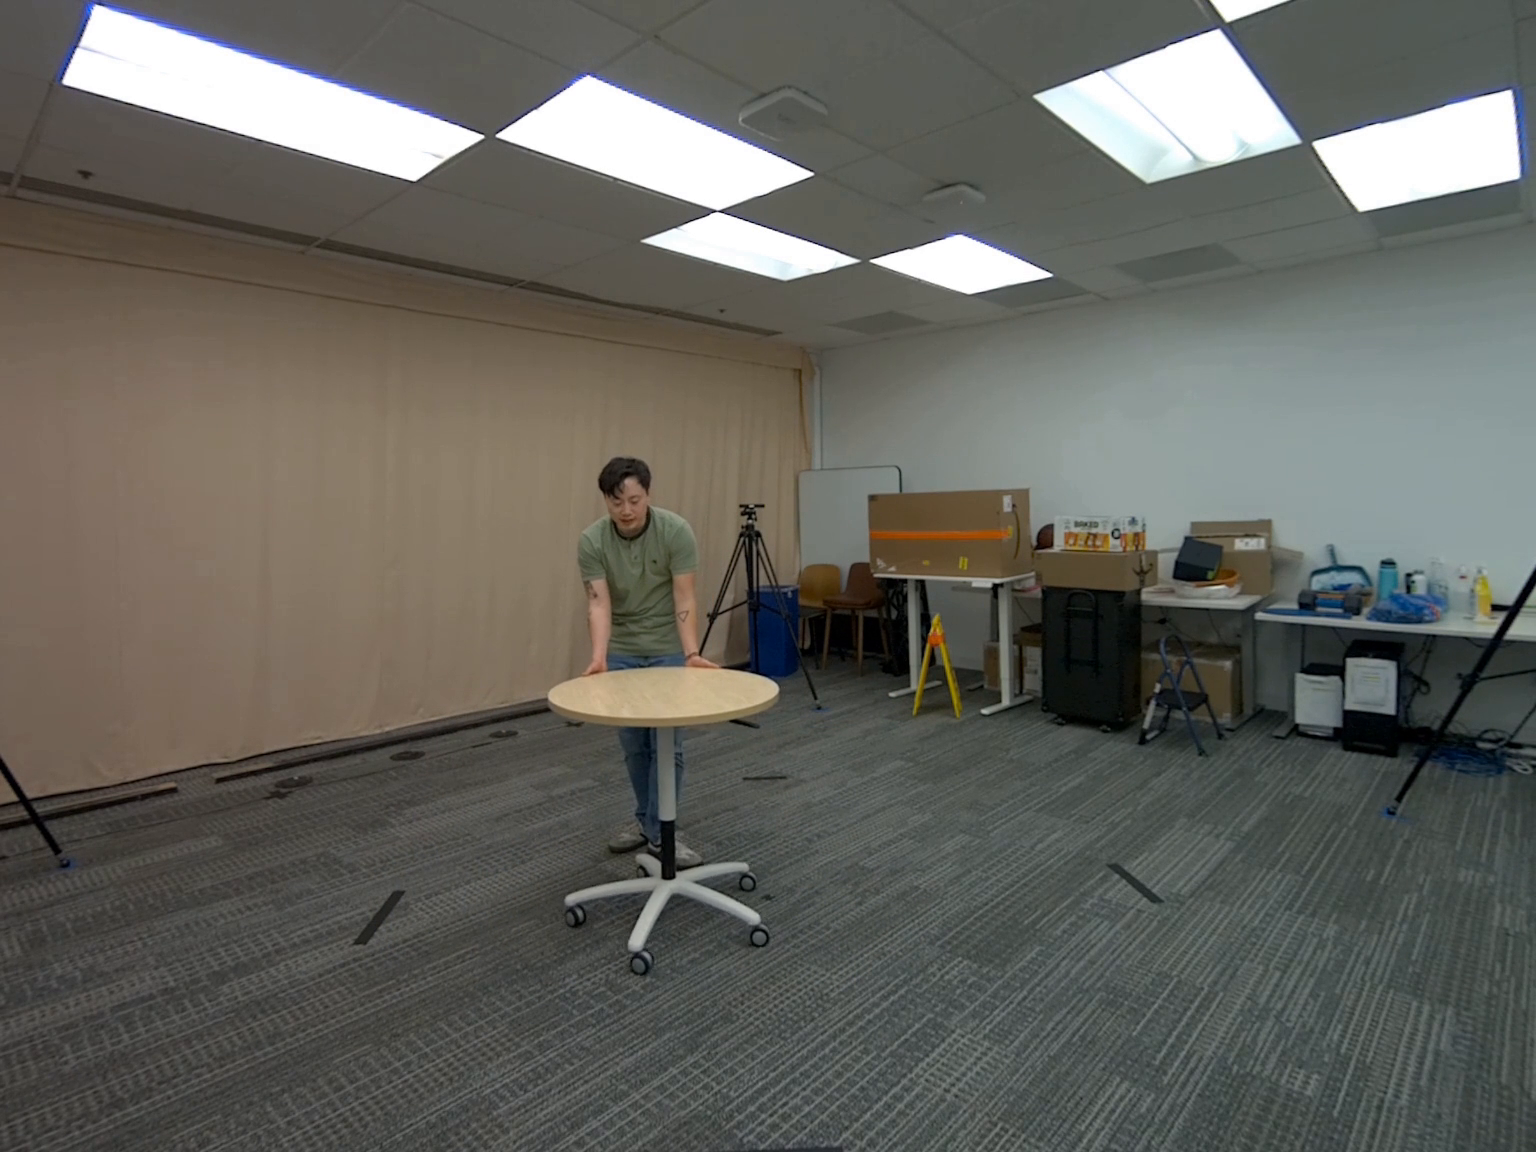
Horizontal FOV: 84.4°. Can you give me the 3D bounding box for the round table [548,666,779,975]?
[{"bbox_3d":[-0.331,0.772,2.823,0.763,0.792,0.766,-1,4,-2],"label":"round table"}]
